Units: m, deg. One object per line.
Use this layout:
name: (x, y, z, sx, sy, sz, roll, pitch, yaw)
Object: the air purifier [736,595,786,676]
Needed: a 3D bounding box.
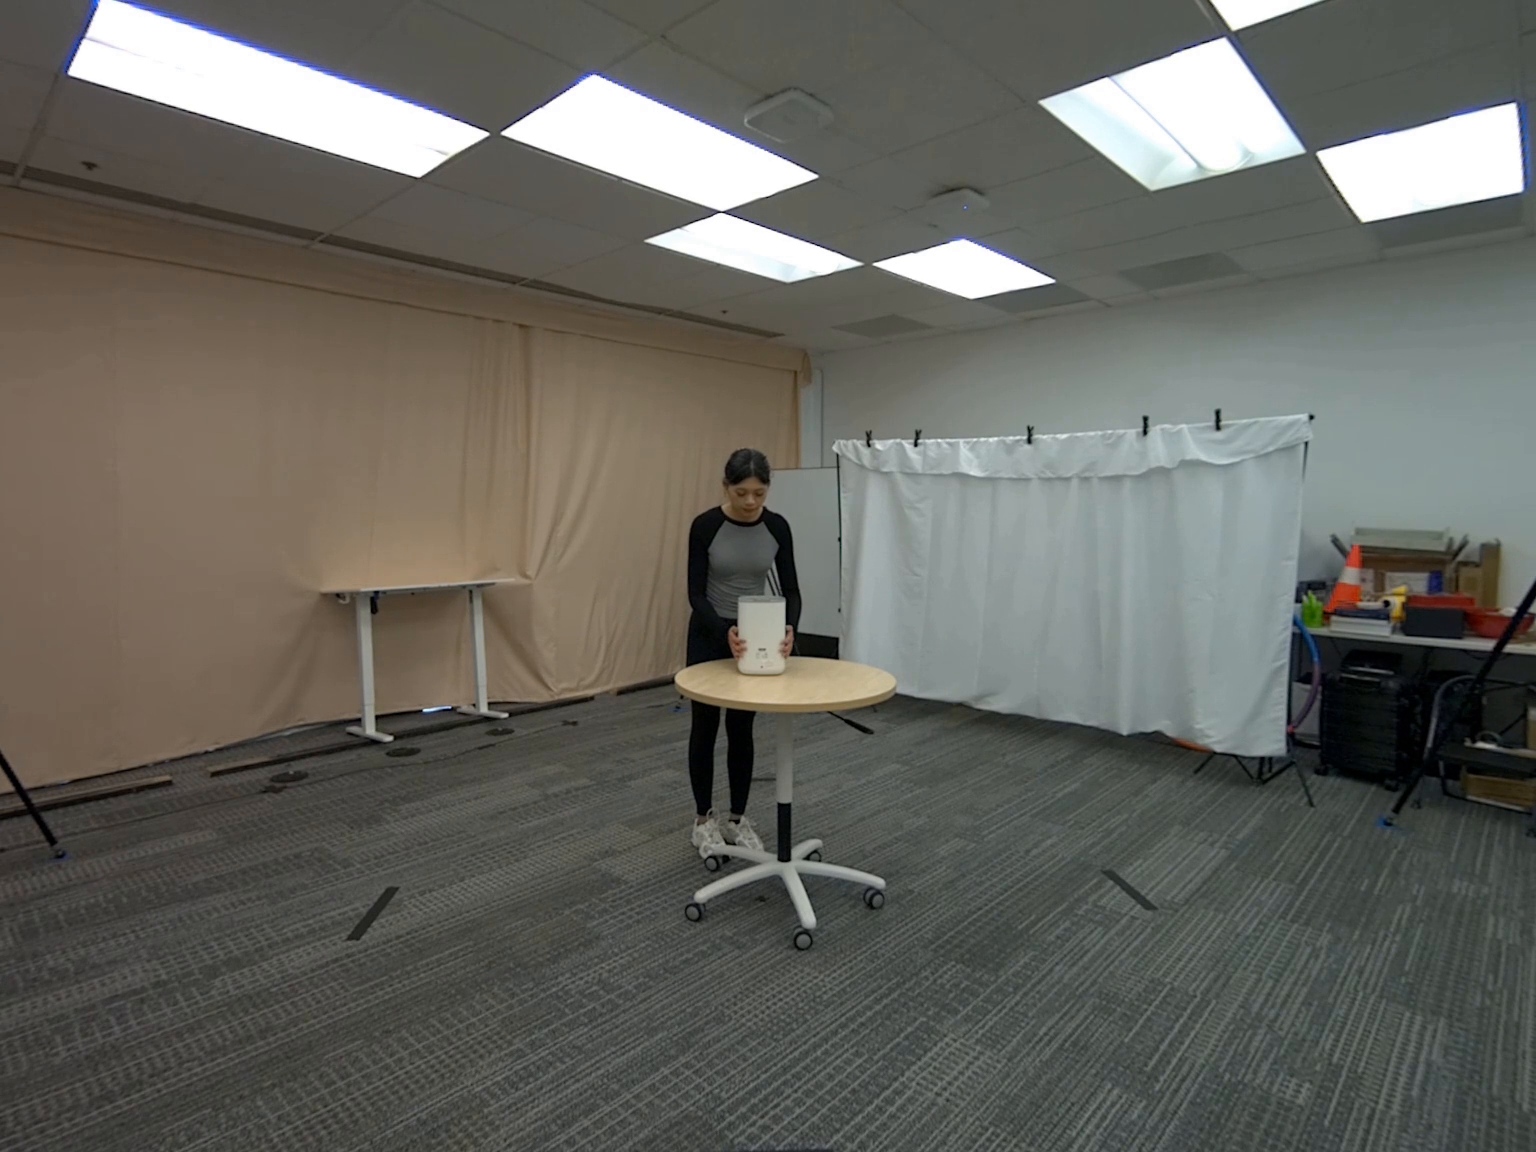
air purifier: (-0.022, 0.213, 3.027, 0.171, 0.265, 0.172, -1, 3, -2)
